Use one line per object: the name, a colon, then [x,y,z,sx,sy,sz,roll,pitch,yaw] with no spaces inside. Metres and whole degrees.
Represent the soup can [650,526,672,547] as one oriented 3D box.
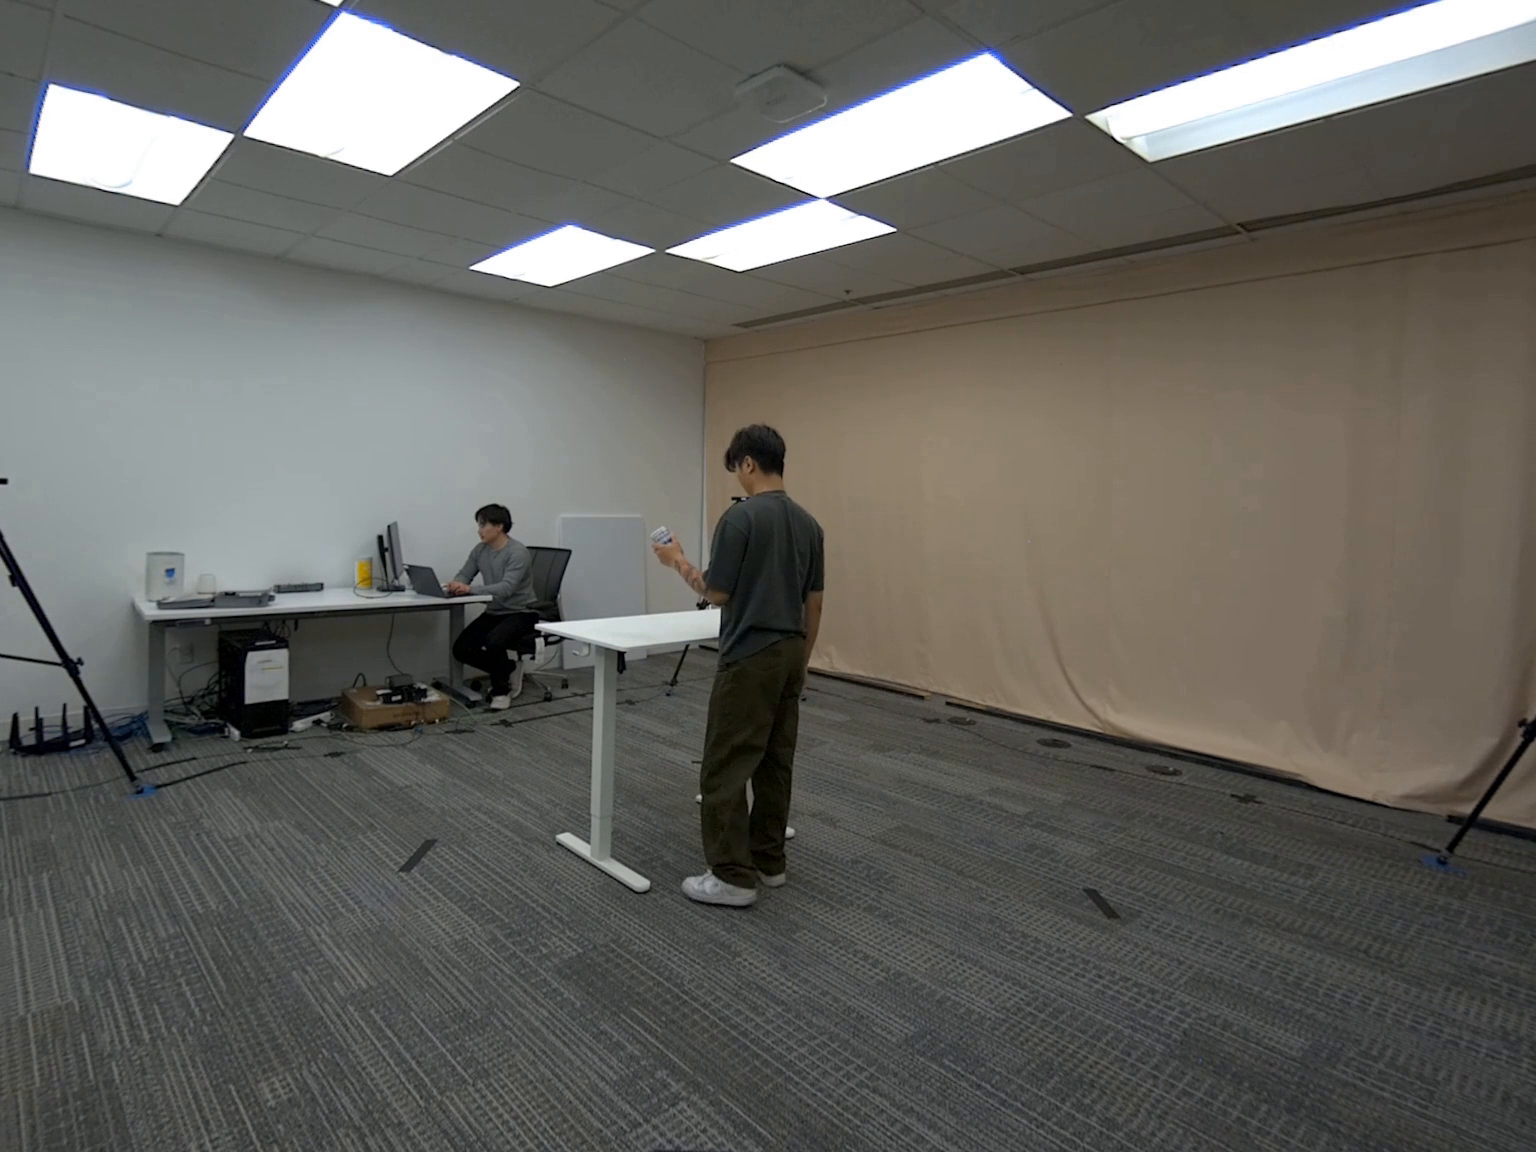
soup can: [-0.377,-0.120,3.113,0.067,0.122,0.067,-38,-2,-2]
